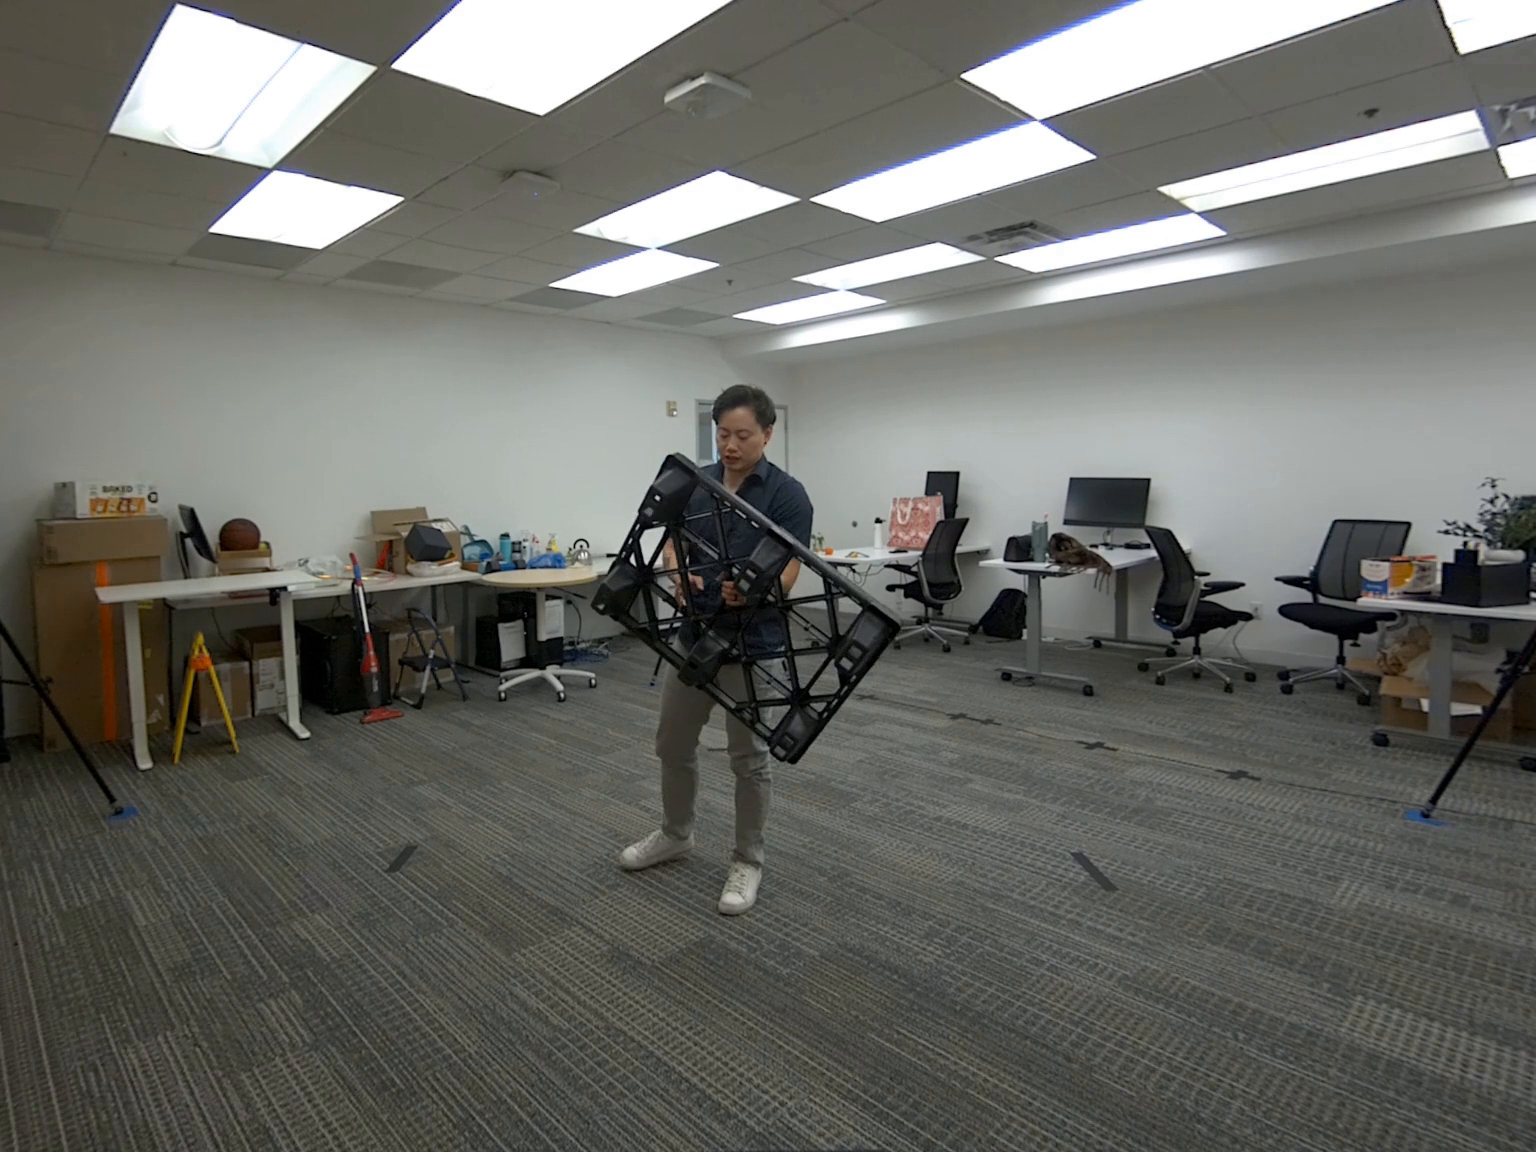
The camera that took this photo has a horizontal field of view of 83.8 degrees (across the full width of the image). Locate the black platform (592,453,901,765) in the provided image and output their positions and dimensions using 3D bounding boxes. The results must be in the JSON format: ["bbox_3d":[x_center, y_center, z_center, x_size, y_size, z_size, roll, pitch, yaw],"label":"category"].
[{"bbox_3d":[-0.109,0.120,2.433,0.817,0.601,0.142,38,31,11],"label":"black platform"}]
